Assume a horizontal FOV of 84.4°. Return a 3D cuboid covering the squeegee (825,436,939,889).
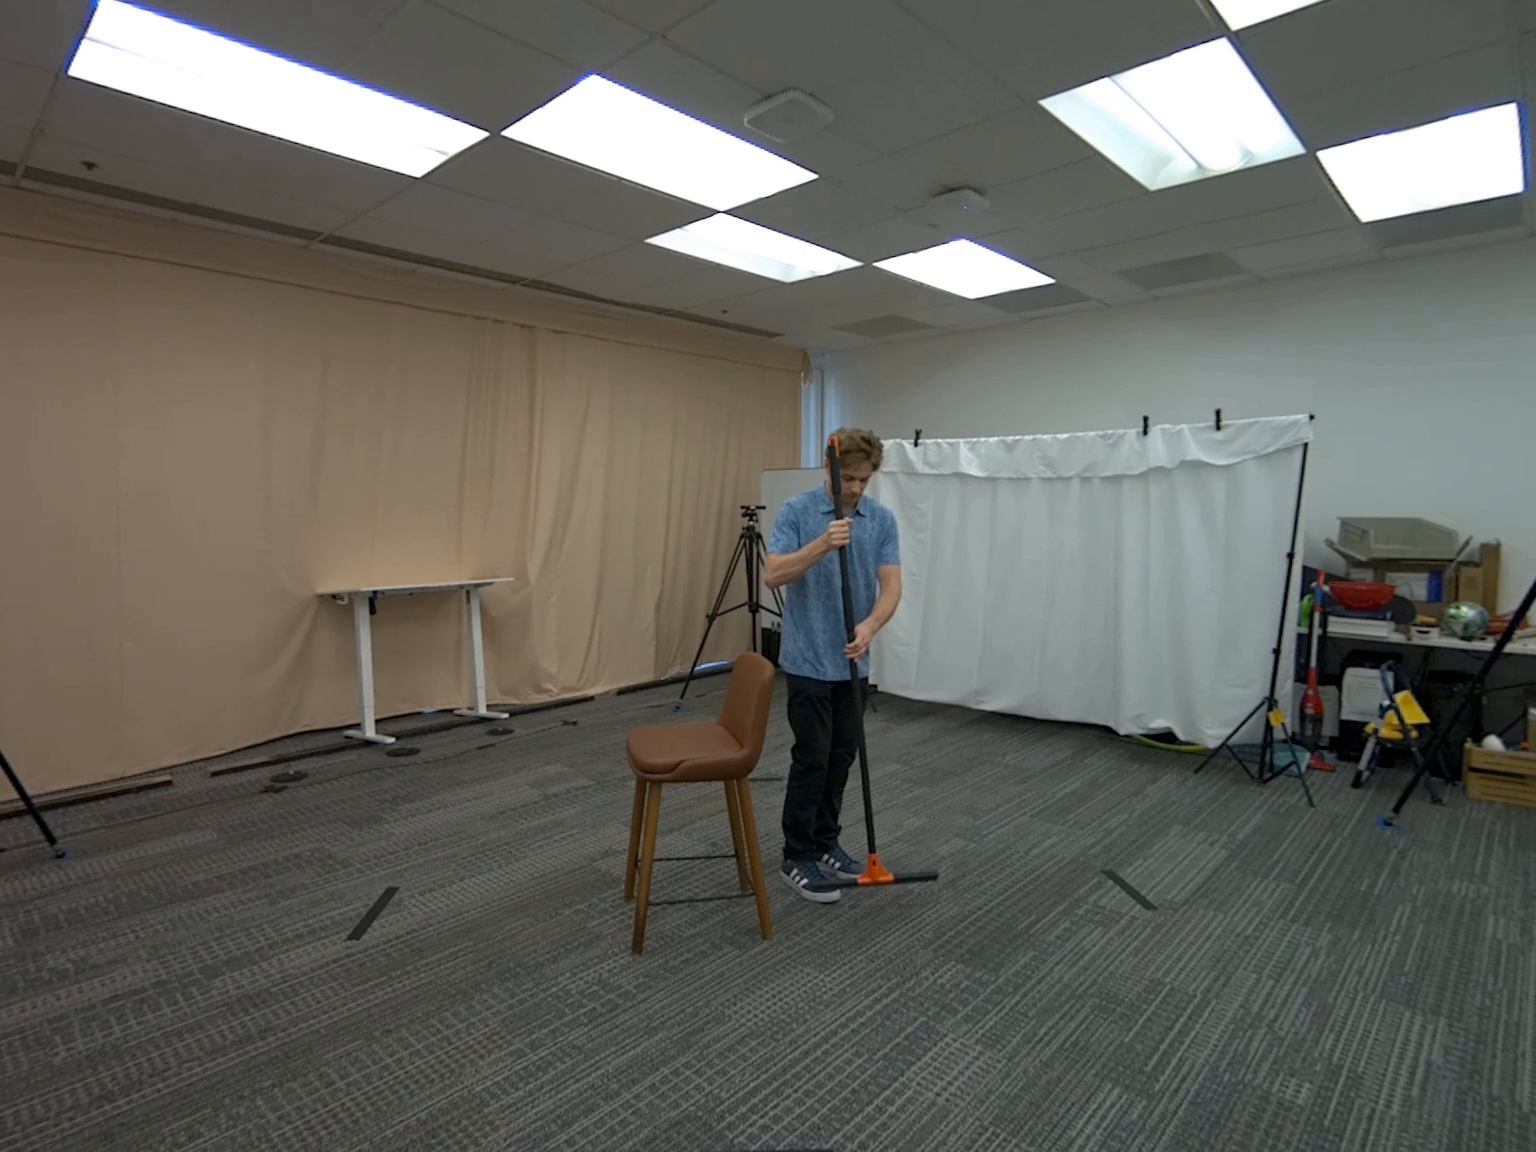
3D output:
[{"bbox_3d":[0.328,0.302,2.849,0.437,1.535,0.053,-3,2,-2],"label":"squeegee"}]
